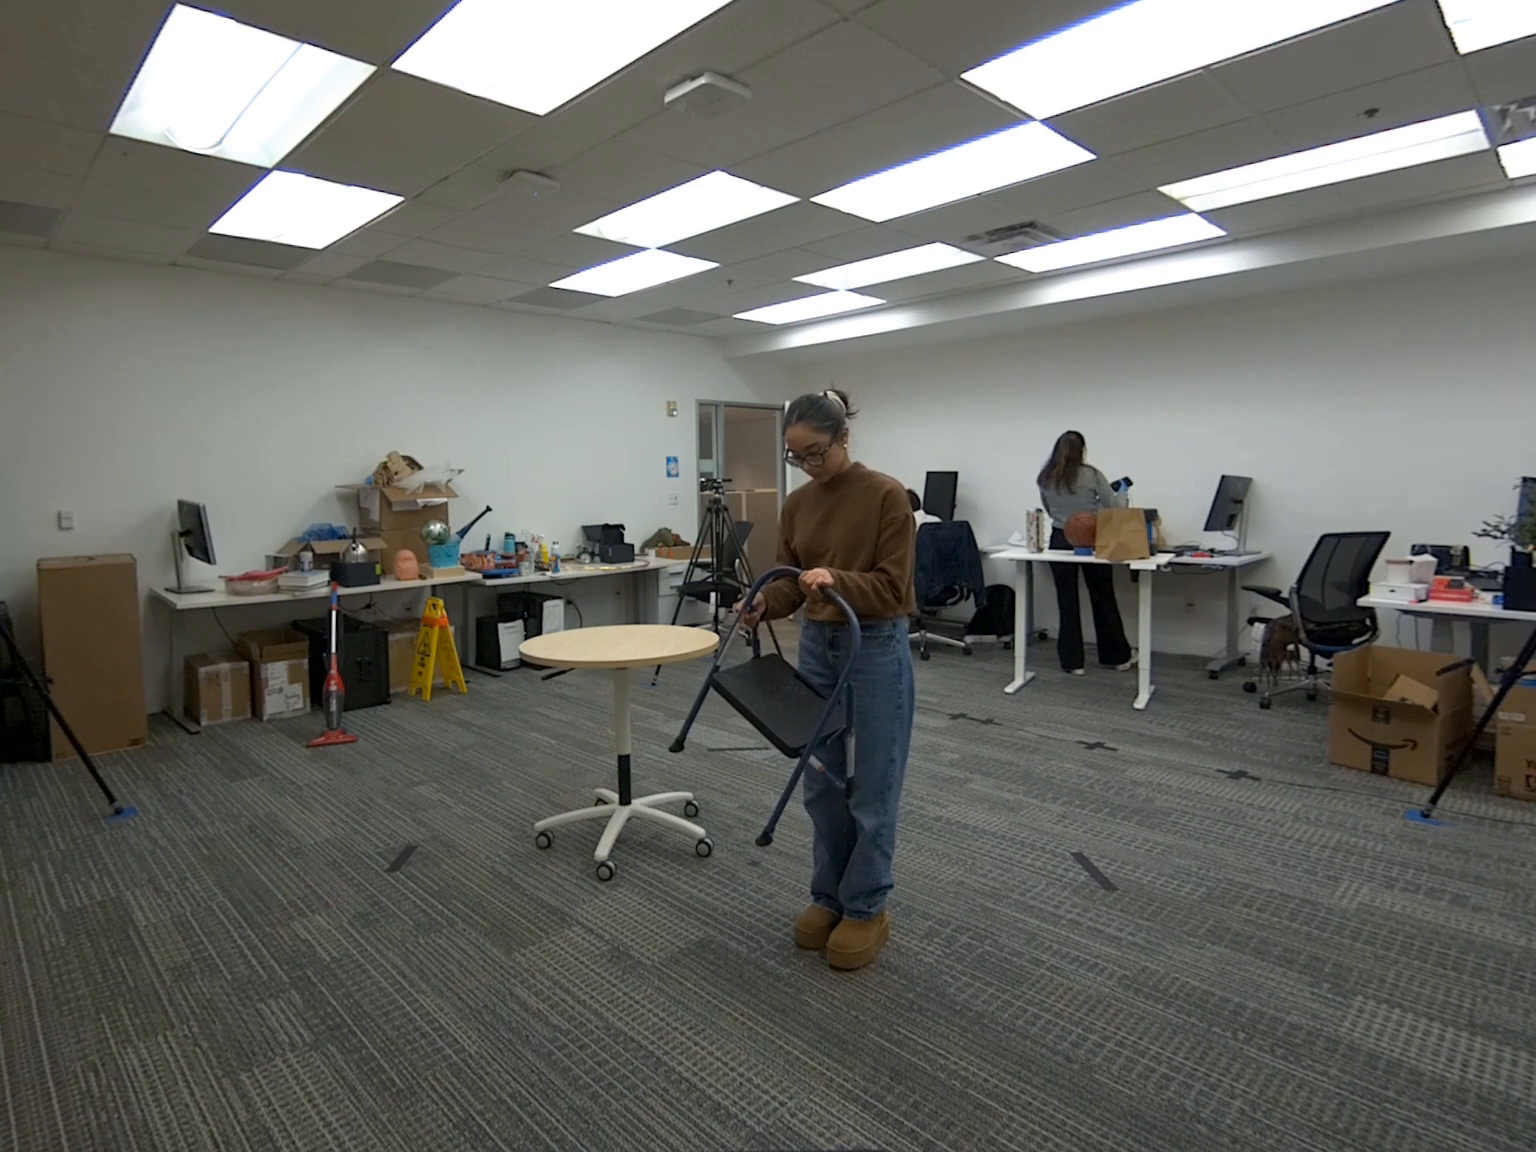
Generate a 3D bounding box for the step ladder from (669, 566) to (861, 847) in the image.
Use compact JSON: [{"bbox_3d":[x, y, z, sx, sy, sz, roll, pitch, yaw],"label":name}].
[{"bbox_3d":[0.031,0.301,2.285,0.342,0.595,0.448,-14,36,-38],"label":"step ladder"}]
